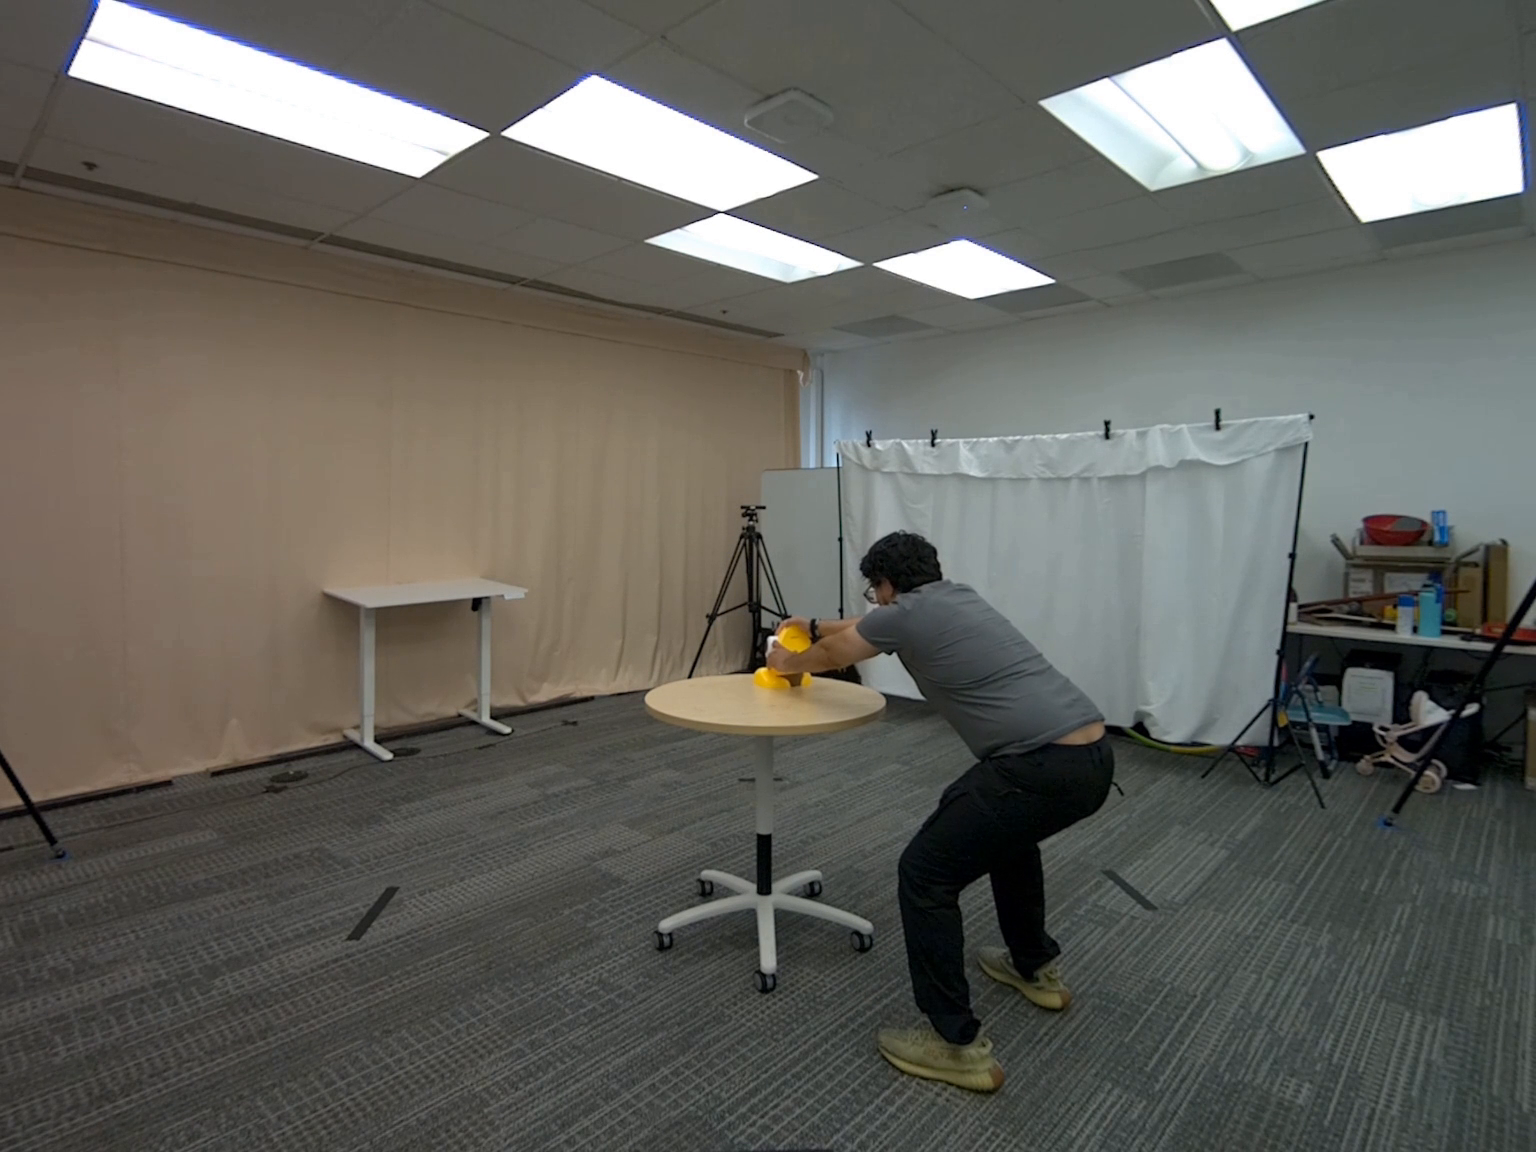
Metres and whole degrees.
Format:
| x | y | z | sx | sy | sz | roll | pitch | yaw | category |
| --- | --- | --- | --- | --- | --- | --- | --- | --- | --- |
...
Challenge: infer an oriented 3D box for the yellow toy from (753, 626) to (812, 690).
| x | y | z | sx | sy | sz | roll | pitch | yaw | category |
| --- | --- | --- | --- | --- | --- | --- | --- | --- | --- |
| 0.061 | 0.262 | 2.912 | 0.199 | 0.230 | 0.199 | -2 | 5 | -31 | yellow toy |
